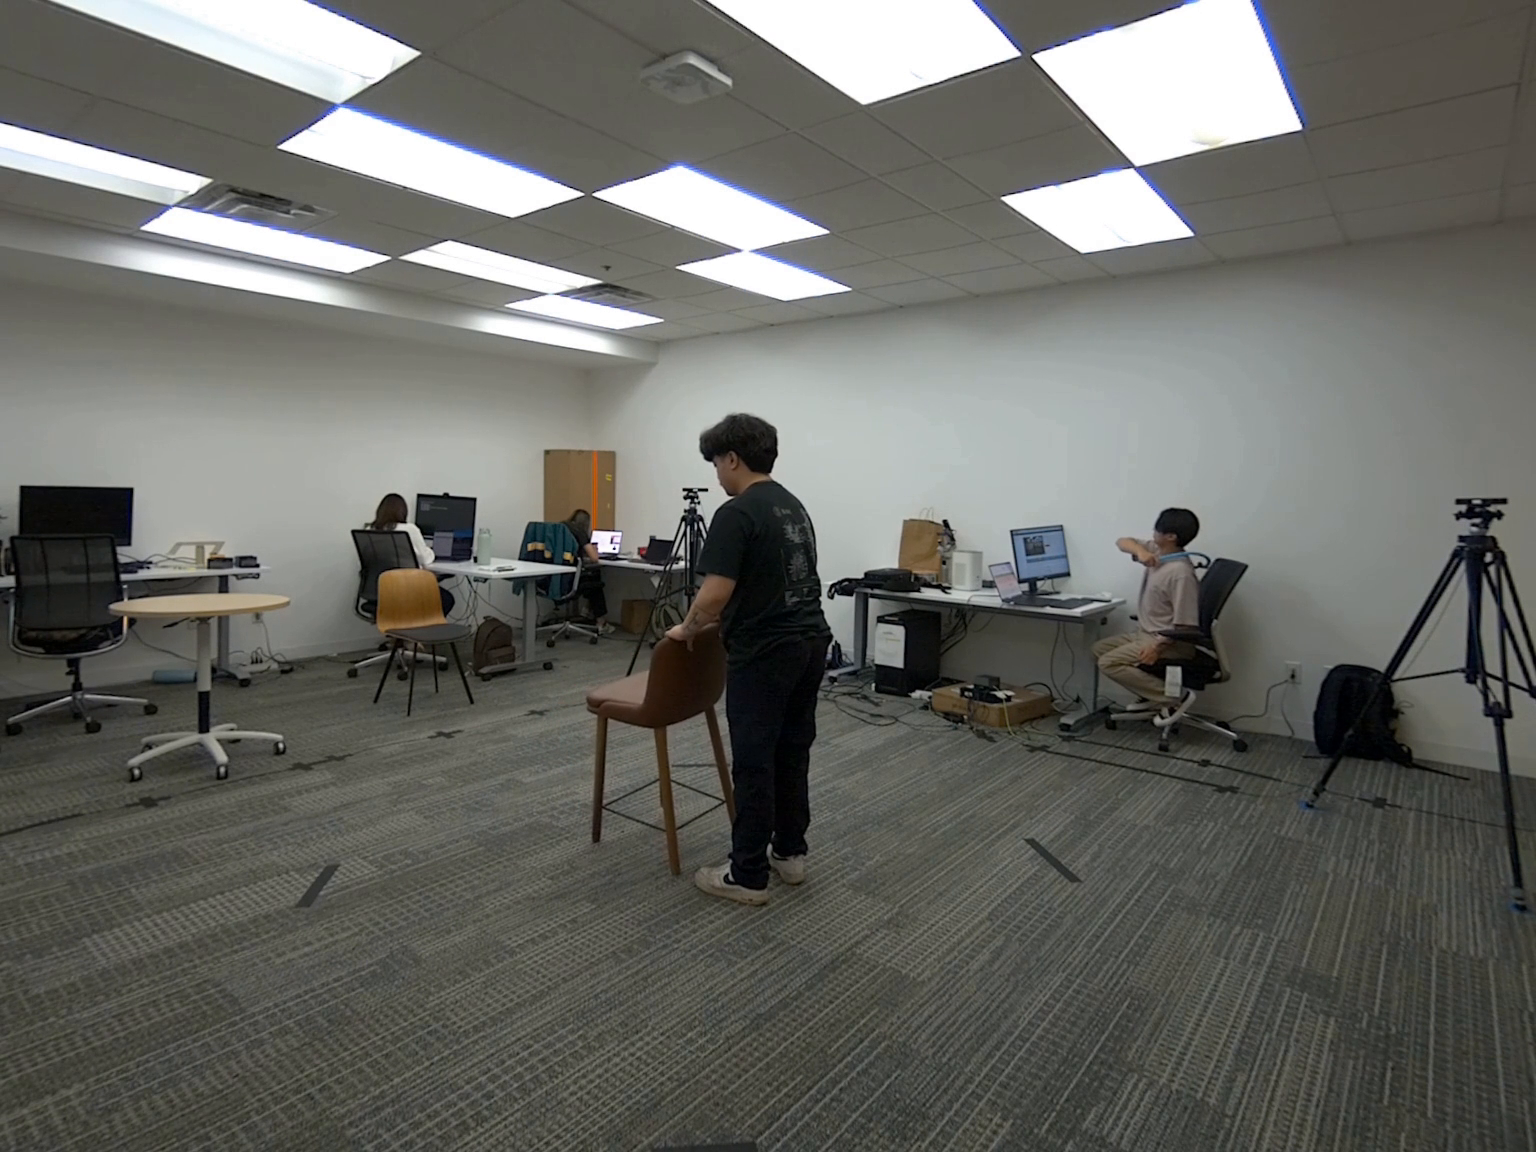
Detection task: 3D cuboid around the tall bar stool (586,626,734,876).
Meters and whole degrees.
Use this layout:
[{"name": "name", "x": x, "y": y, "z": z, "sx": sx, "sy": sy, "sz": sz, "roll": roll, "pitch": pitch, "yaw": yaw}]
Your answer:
[{"name": "tall bar stool", "x": -0.420, "y": 0.598, "z": 3.274, "sx": 0.484, "sy": 0.882, "sz": 0.445, "roll": 6, "pitch": 12, "yaw": 40}]
